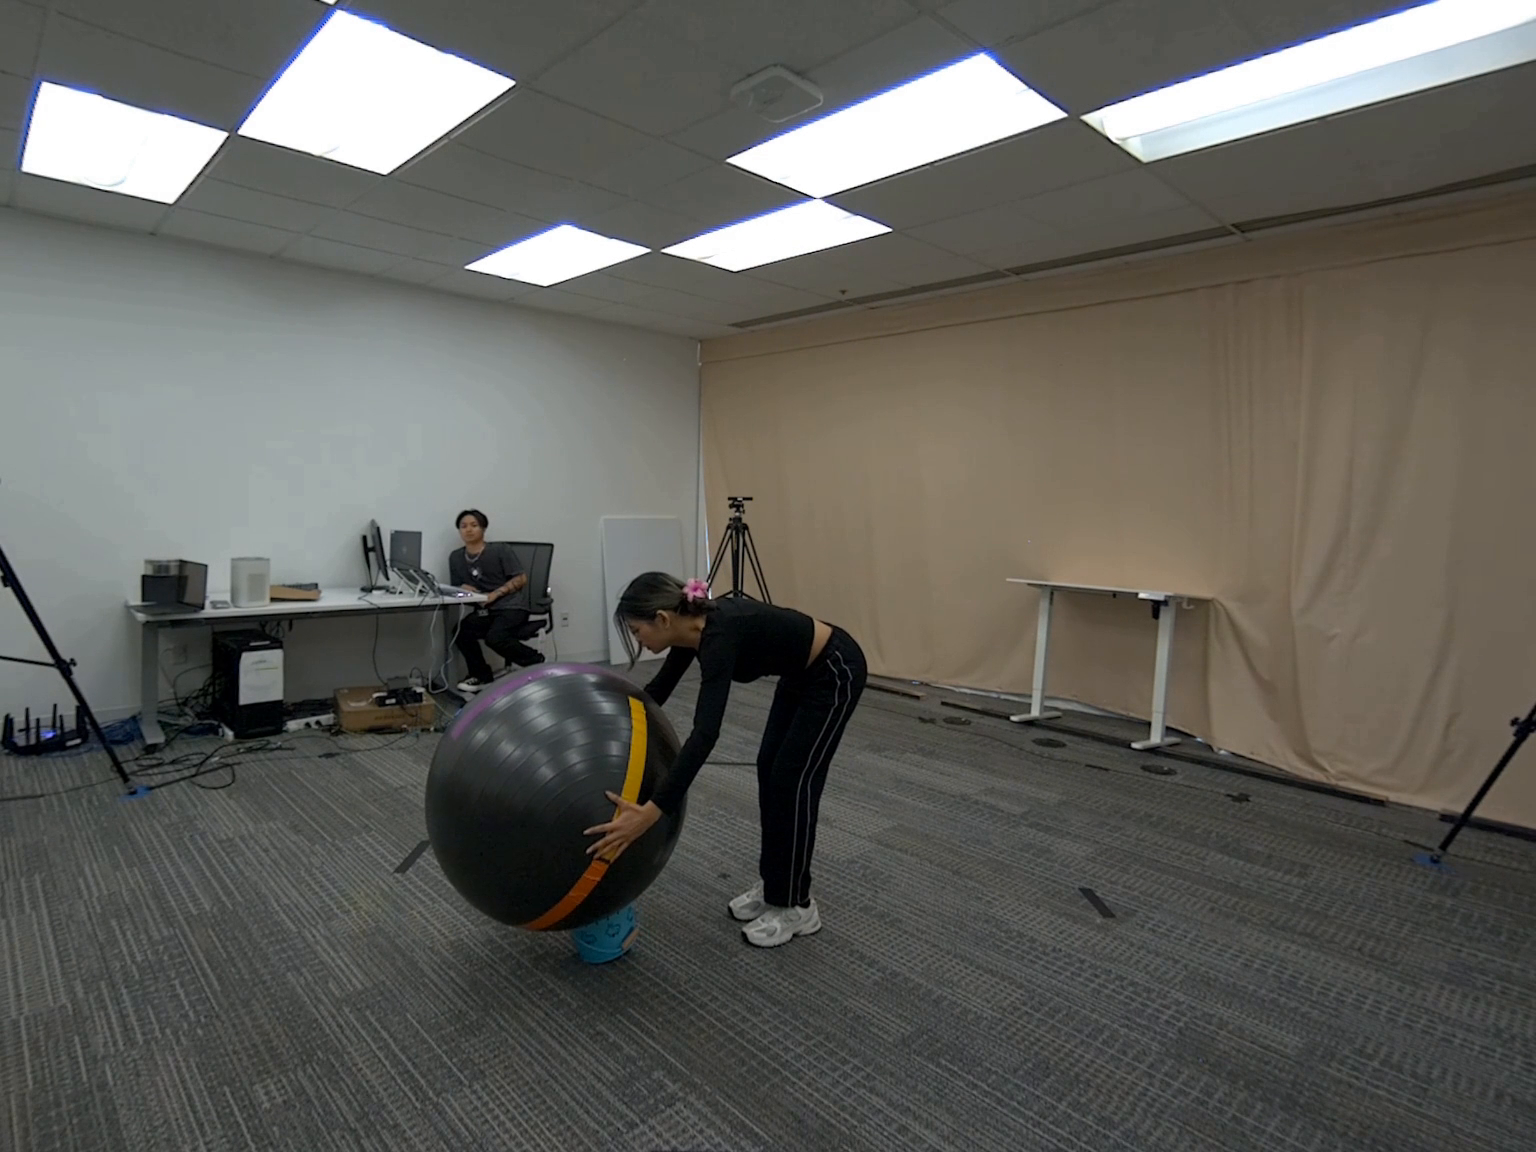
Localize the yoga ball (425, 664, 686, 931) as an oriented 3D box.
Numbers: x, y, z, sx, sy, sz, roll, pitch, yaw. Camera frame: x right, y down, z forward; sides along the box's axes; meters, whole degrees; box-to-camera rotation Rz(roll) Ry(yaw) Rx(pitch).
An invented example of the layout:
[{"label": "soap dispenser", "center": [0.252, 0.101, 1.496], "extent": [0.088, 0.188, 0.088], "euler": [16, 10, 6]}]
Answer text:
[{"label": "yoga ball", "center": [-0.619, 0.643, 2.493], "extent": [0.757, 0.756, 0.761], "euler": [1, 4, -1]}]
